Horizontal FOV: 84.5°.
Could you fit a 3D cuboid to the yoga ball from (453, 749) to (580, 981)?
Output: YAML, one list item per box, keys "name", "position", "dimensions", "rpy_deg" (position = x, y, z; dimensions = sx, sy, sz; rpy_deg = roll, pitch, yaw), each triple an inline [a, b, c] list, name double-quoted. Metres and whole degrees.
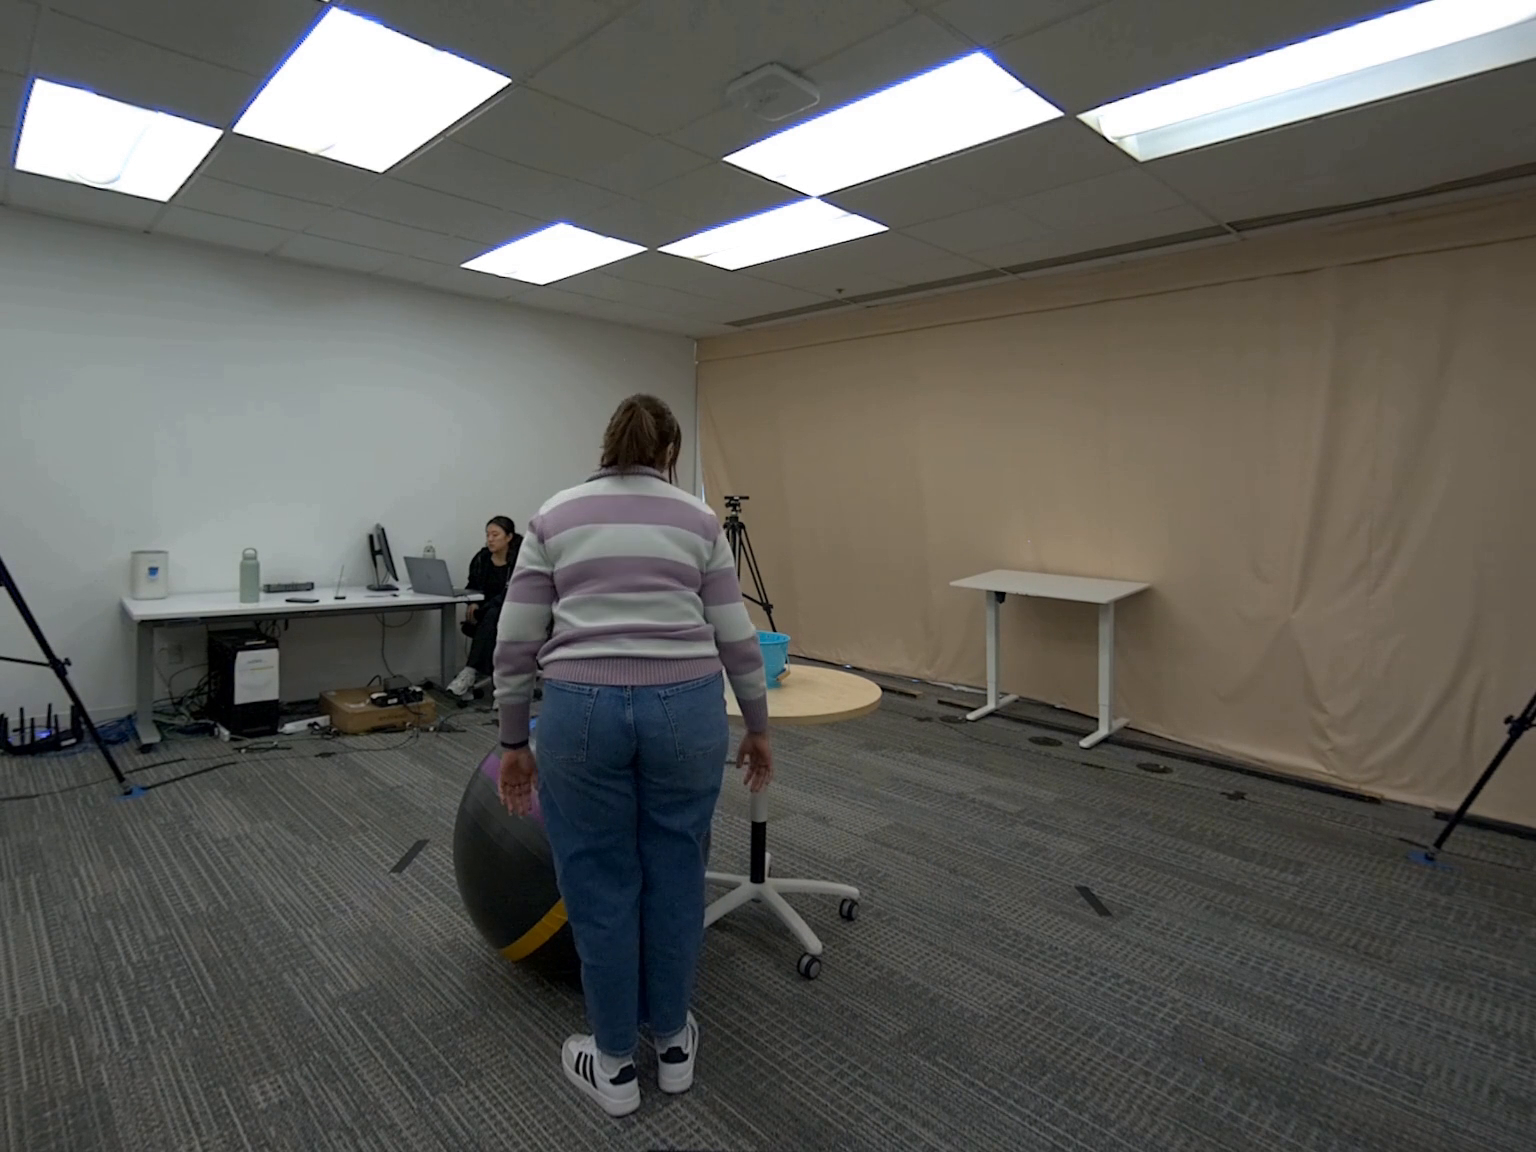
- name: "yoga ball"
  position: [-0.567, 0.782, 2.516]
  dimensions: [0.757, 0.756, 0.761]
  rpy_deg: [1, 4, -1]
